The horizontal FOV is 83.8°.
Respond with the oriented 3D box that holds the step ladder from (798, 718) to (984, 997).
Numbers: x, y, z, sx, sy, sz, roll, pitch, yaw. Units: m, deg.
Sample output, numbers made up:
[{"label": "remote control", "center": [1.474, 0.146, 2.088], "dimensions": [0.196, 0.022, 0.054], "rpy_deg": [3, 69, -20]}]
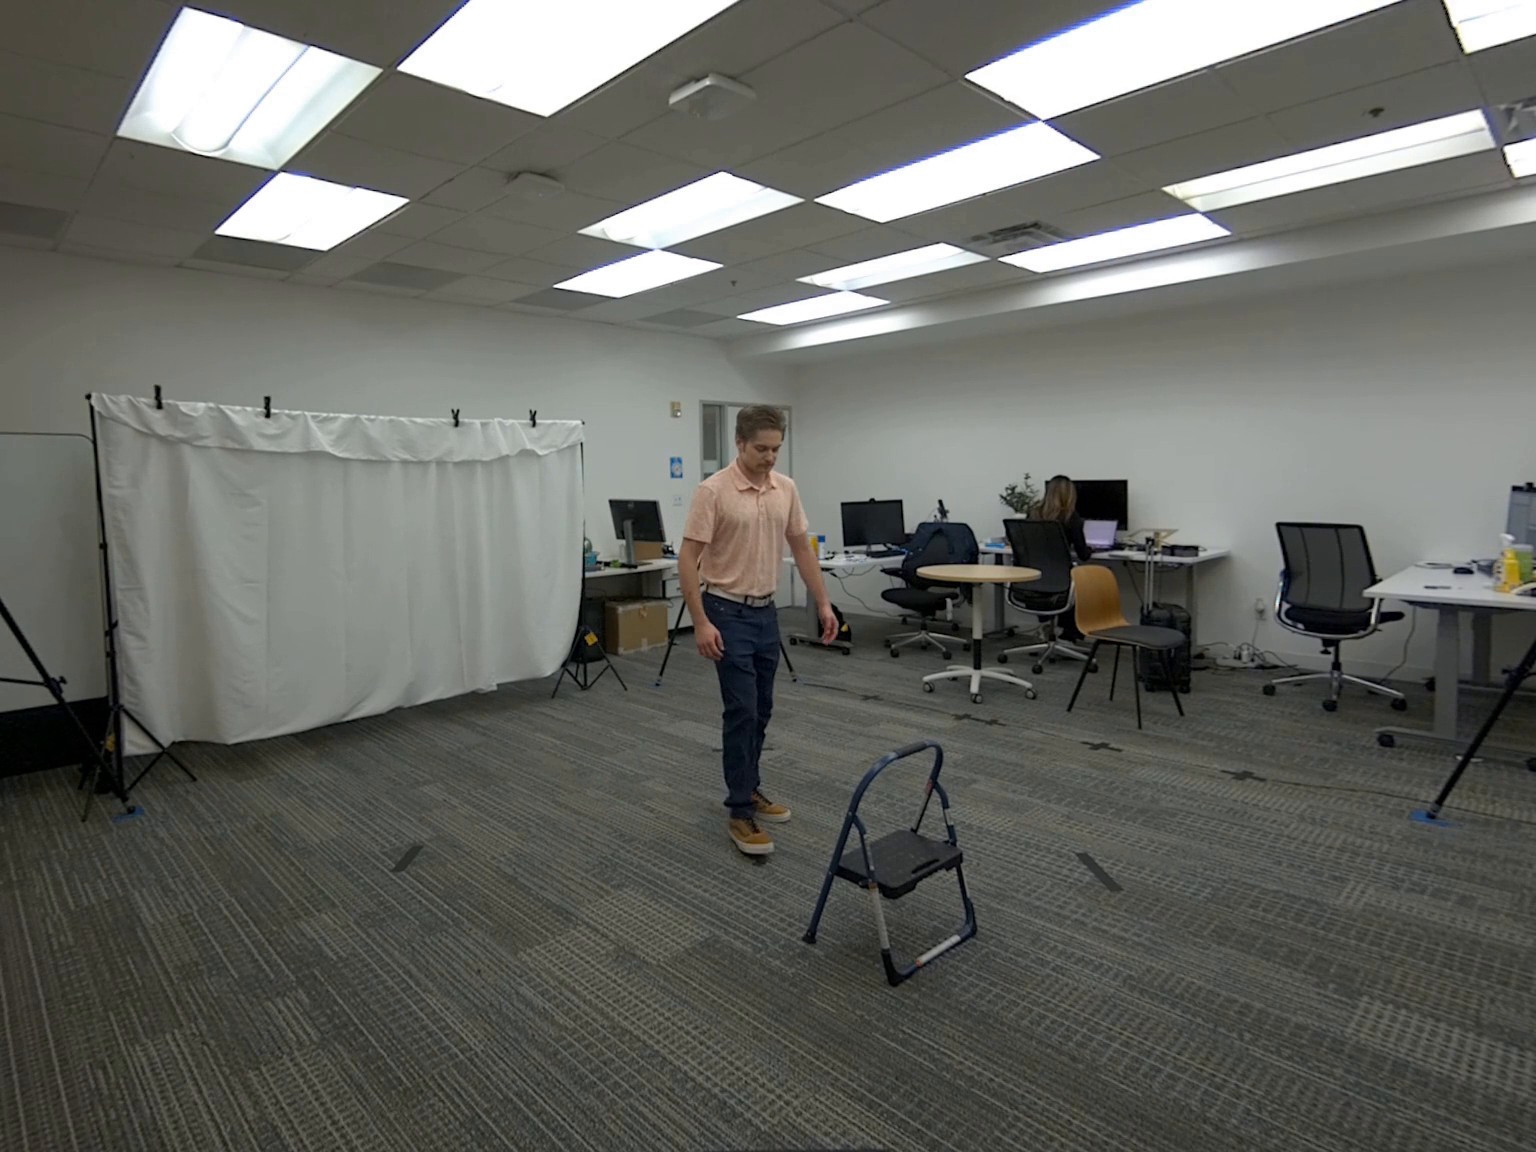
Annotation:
[{"label": "step ladder", "center": [0.373, 0.805, 2.580], "dimensions": [0.419, 0.603, 0.360], "rpy_deg": [-7, 7, -44]}]
